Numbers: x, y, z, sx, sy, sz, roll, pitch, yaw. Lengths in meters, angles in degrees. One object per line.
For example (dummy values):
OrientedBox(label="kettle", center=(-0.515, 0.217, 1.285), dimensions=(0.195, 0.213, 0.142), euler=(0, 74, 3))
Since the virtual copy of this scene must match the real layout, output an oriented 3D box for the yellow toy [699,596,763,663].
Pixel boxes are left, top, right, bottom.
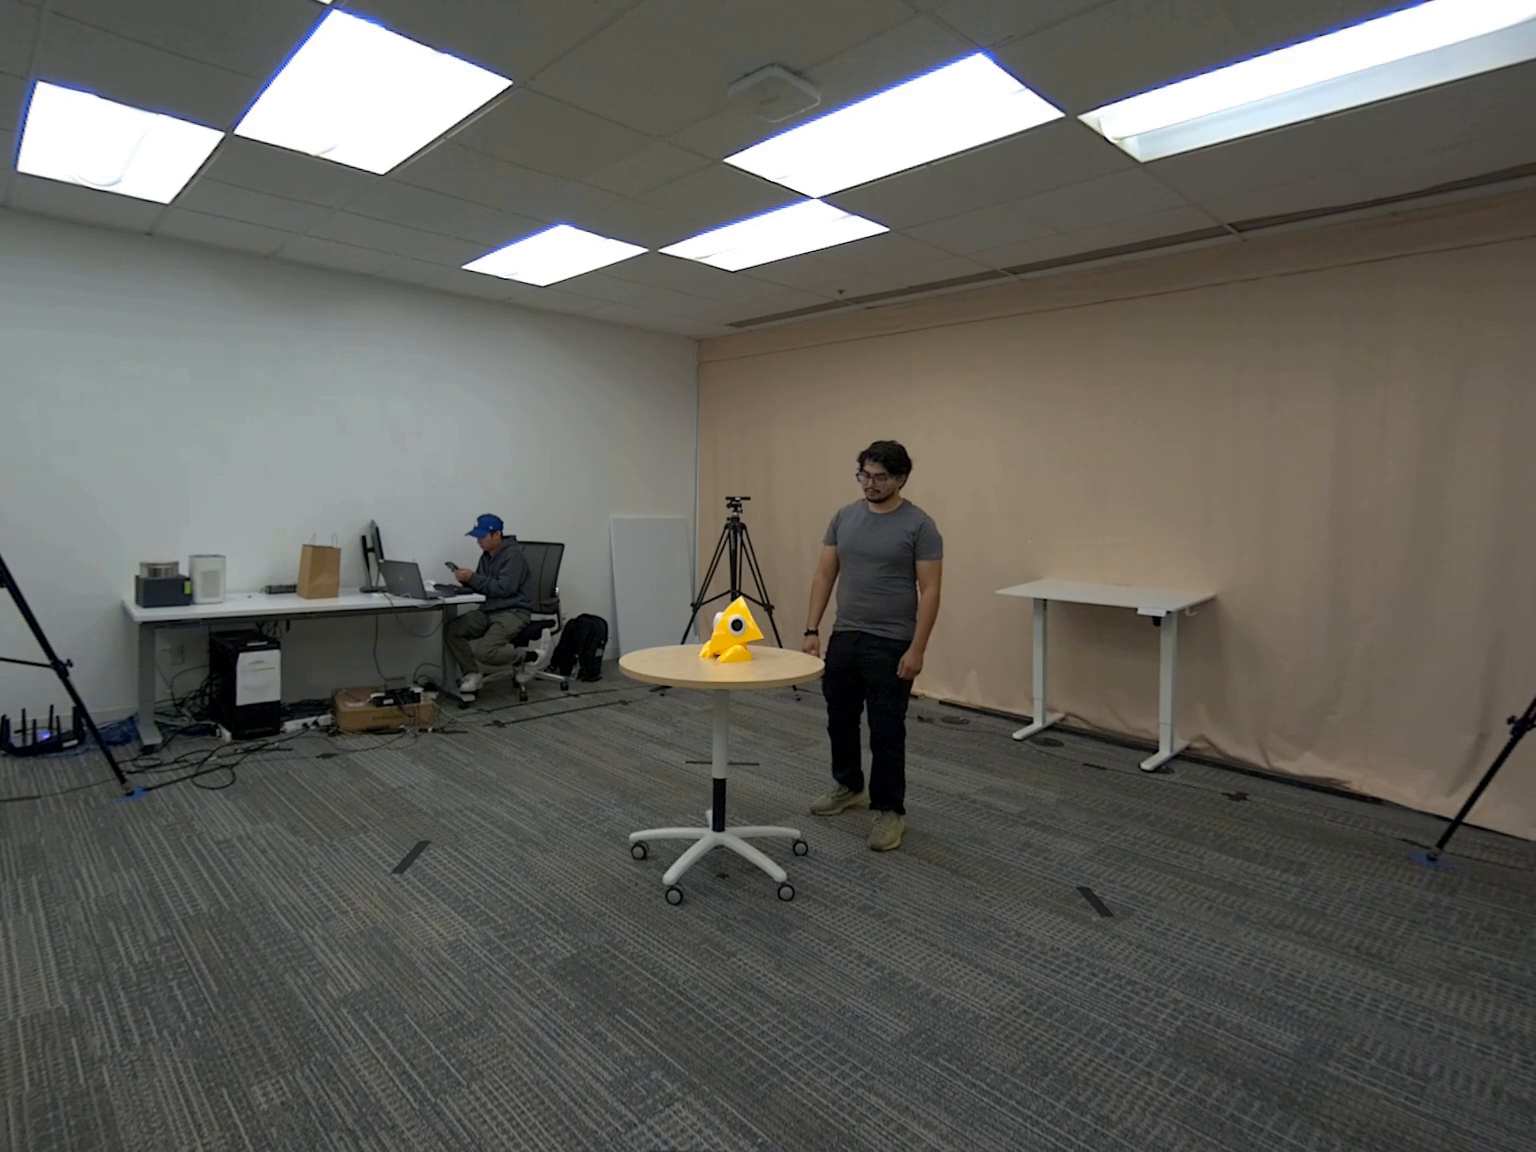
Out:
OrientedBox(label="yellow toy", center=(-0.156, 0.198, 3.222), dimensions=(0.189, 0.230, 0.210), euler=(-2, 5, -40))
